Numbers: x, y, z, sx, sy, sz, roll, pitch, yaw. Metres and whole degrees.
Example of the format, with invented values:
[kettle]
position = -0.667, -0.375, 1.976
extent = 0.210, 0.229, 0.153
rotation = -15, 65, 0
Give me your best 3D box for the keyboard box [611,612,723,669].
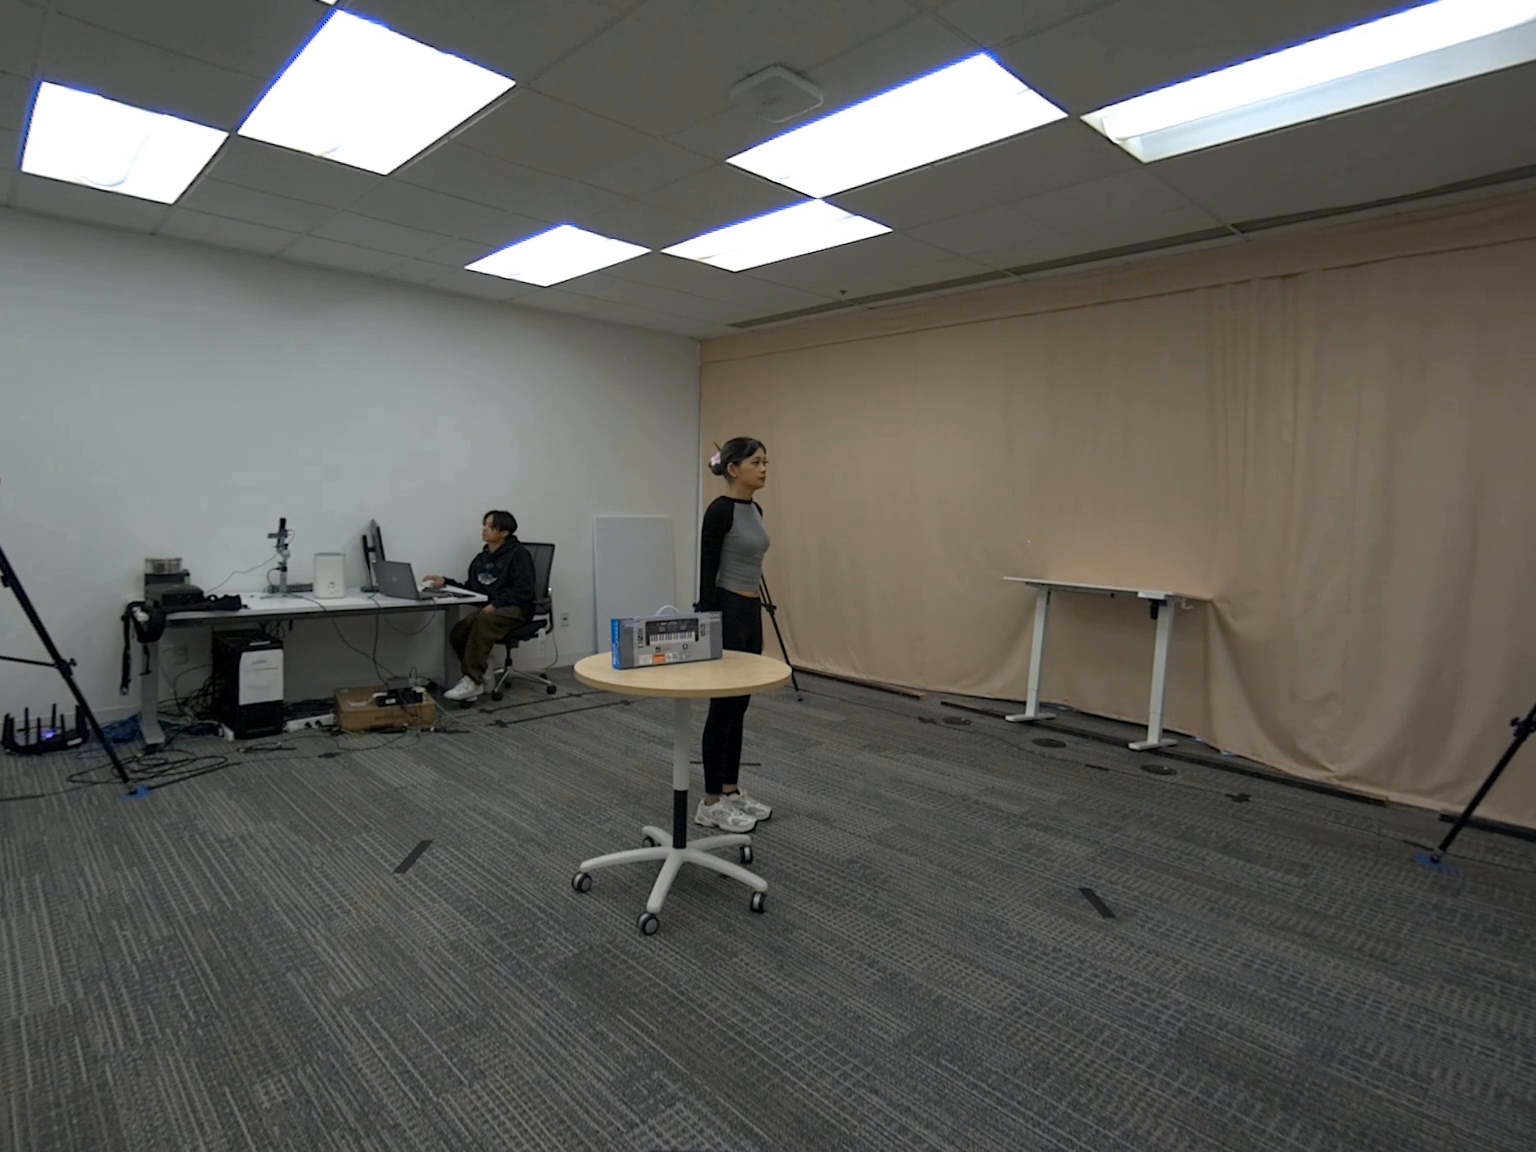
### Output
[keyboard box]
position = -0.363, 0.230, 3.030
extent = 0.427, 0.176, 0.060
rotation = -1, -1, -37
